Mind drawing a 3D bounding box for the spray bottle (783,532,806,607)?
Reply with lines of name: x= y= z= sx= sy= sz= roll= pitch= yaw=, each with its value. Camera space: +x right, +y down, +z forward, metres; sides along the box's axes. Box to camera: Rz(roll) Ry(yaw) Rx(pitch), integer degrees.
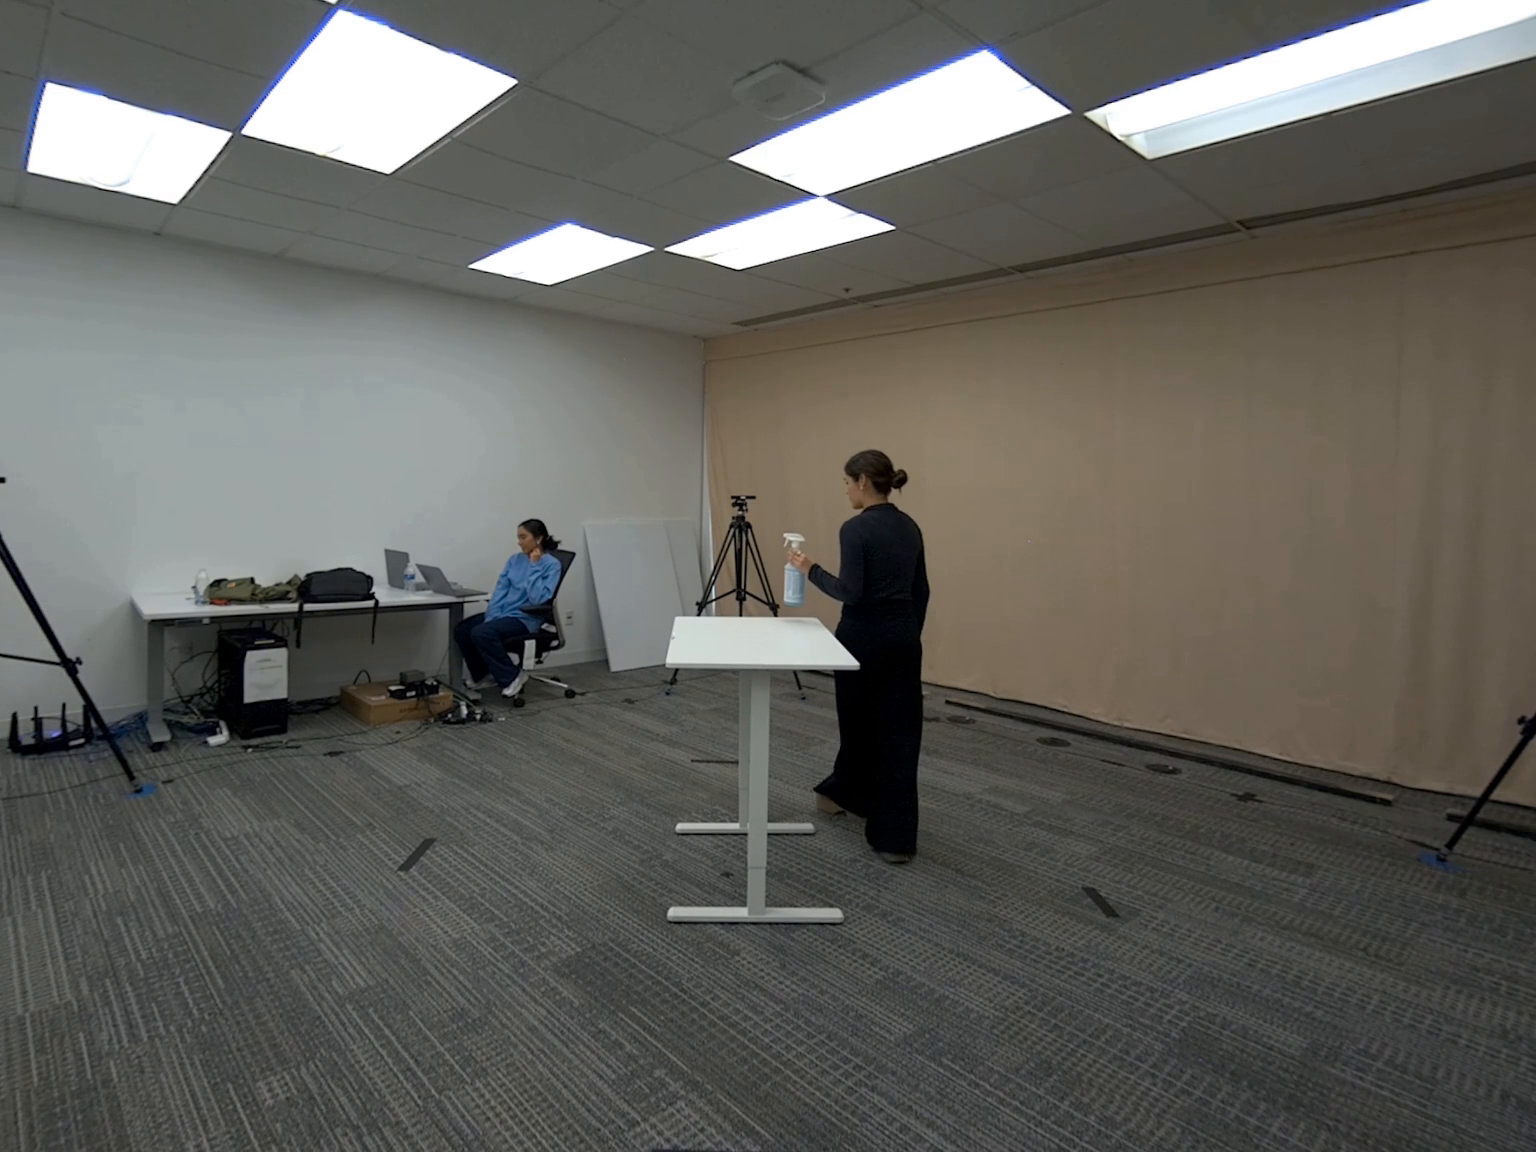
spray bottle: x=0.109 y=-0.036 z=3.499 sx=0.091 sy=0.296 sz=0.086 roll=3 pitch=6 yaw=18
